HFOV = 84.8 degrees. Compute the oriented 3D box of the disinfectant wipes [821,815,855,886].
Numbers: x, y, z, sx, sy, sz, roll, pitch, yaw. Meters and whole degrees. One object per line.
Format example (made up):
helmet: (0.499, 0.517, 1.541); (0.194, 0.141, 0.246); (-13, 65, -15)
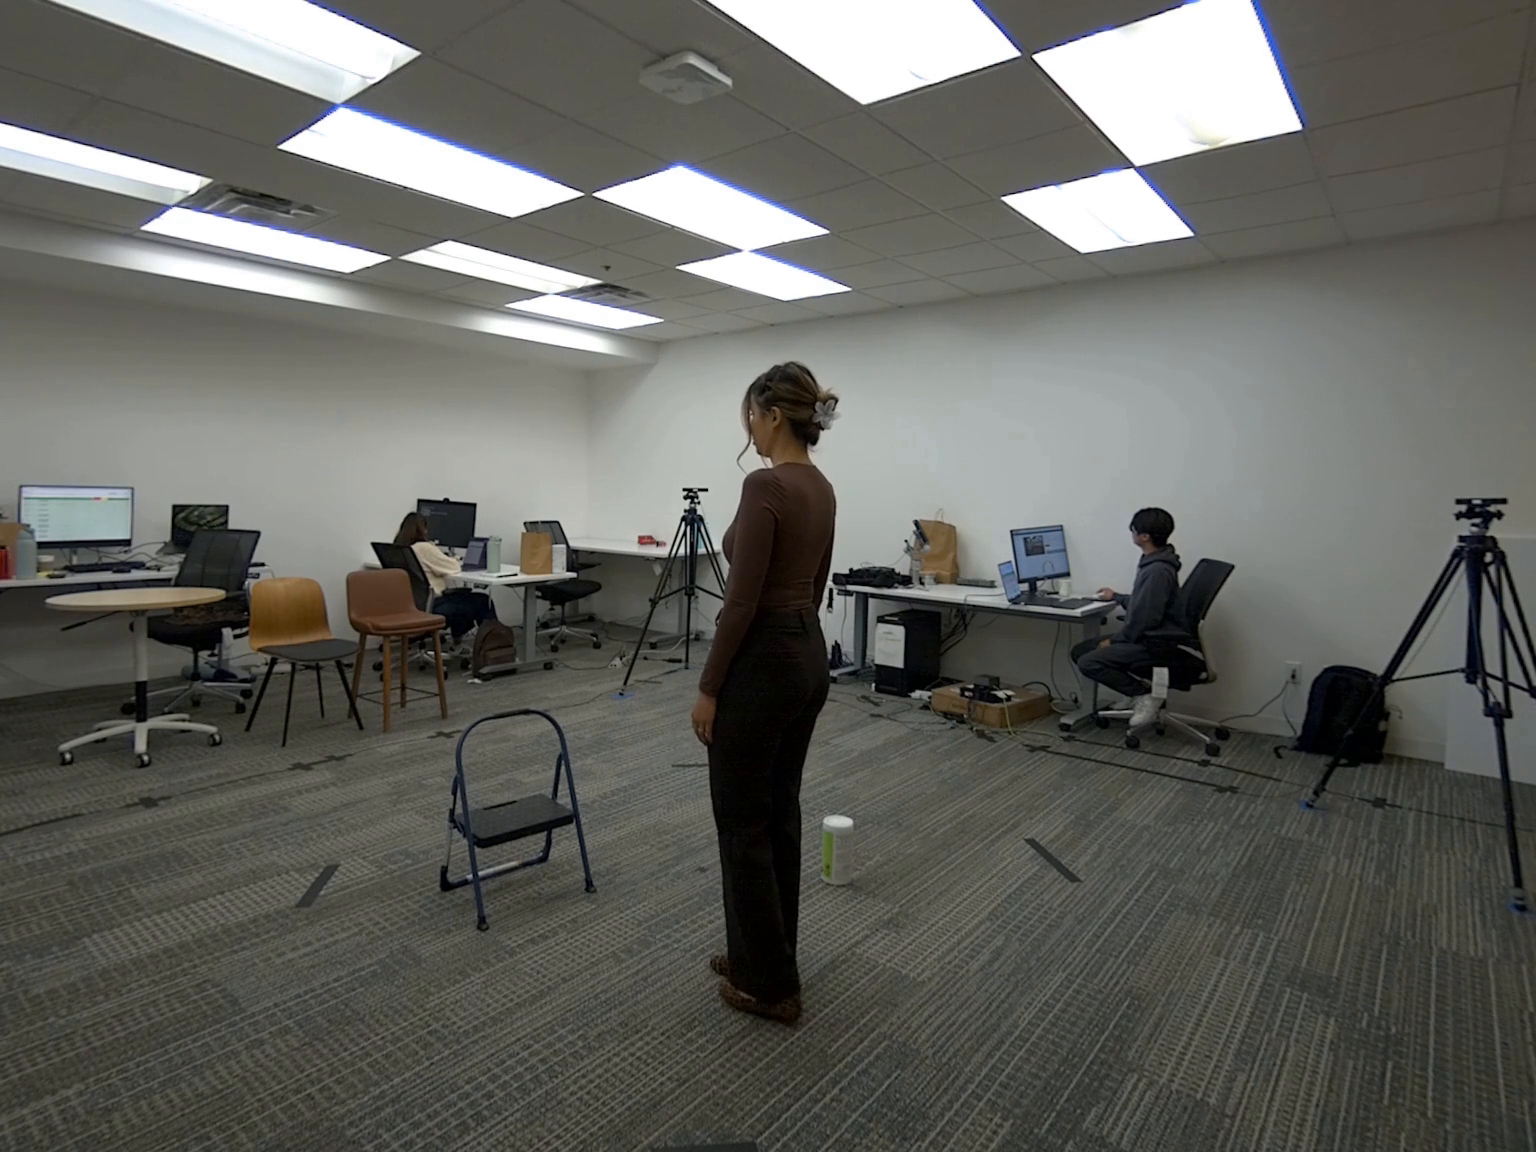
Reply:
disinfectant wipes: (0.245, 0.980, 3.059); (0.118, 0.217, 0.118); (-1, 4, -2)
